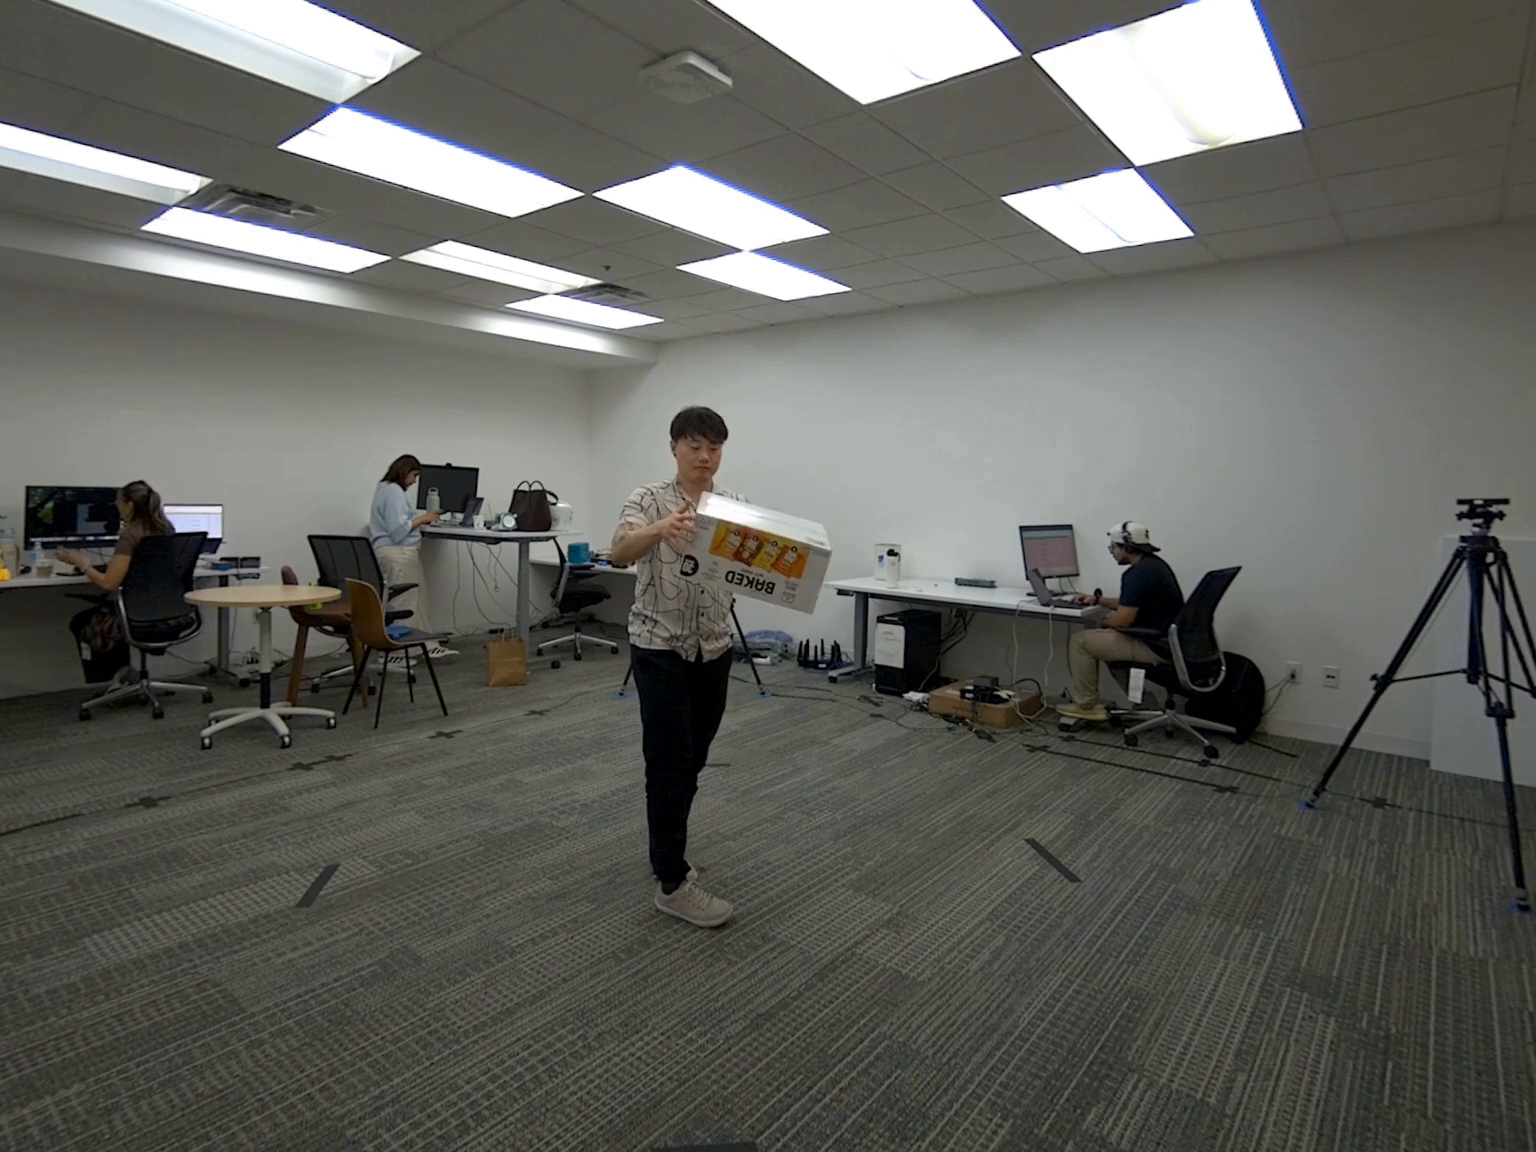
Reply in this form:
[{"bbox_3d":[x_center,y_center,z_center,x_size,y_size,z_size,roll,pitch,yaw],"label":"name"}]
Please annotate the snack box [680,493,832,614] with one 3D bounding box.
[{"bbox_3d":[-0.046,-0.084,2.600,0.404,0.204,0.344,15,15,-3],"label":"snack box"}]
